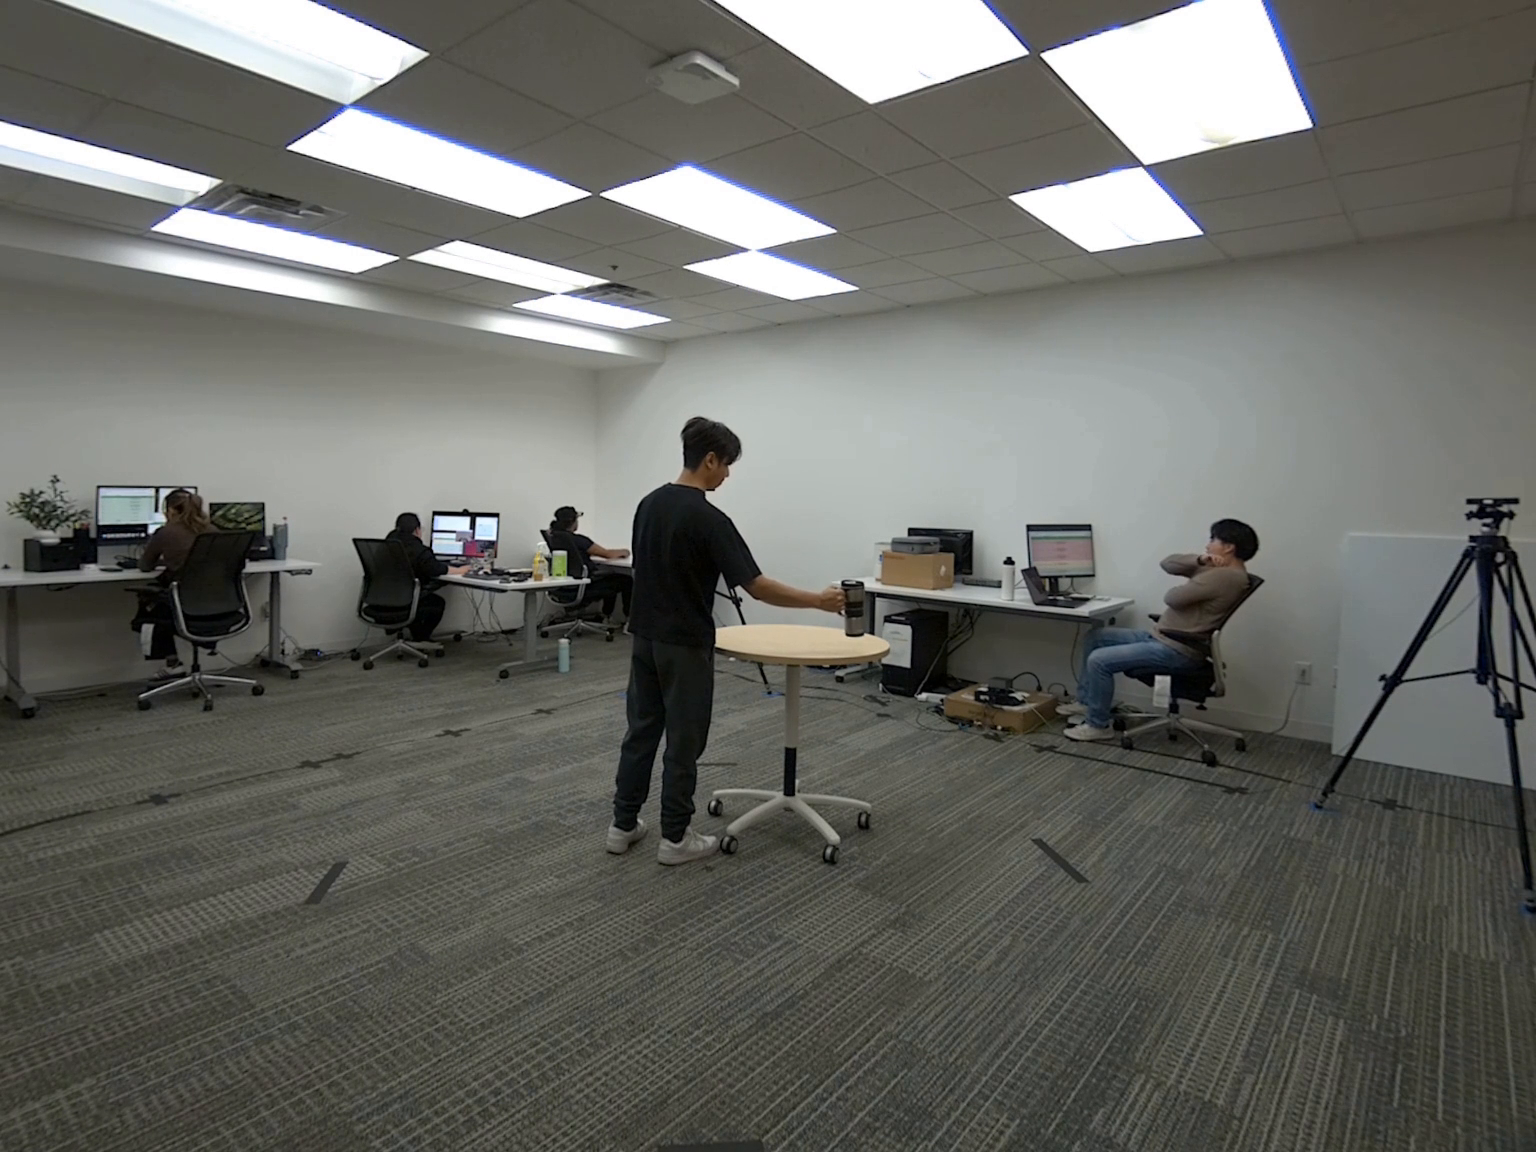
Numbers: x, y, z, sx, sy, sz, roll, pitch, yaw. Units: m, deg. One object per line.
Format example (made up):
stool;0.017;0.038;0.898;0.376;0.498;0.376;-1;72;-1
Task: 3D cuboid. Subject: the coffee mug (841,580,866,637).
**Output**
coffee mug;0.292;0.119;3.160;0.126;0.201;0.086;3;10;33
